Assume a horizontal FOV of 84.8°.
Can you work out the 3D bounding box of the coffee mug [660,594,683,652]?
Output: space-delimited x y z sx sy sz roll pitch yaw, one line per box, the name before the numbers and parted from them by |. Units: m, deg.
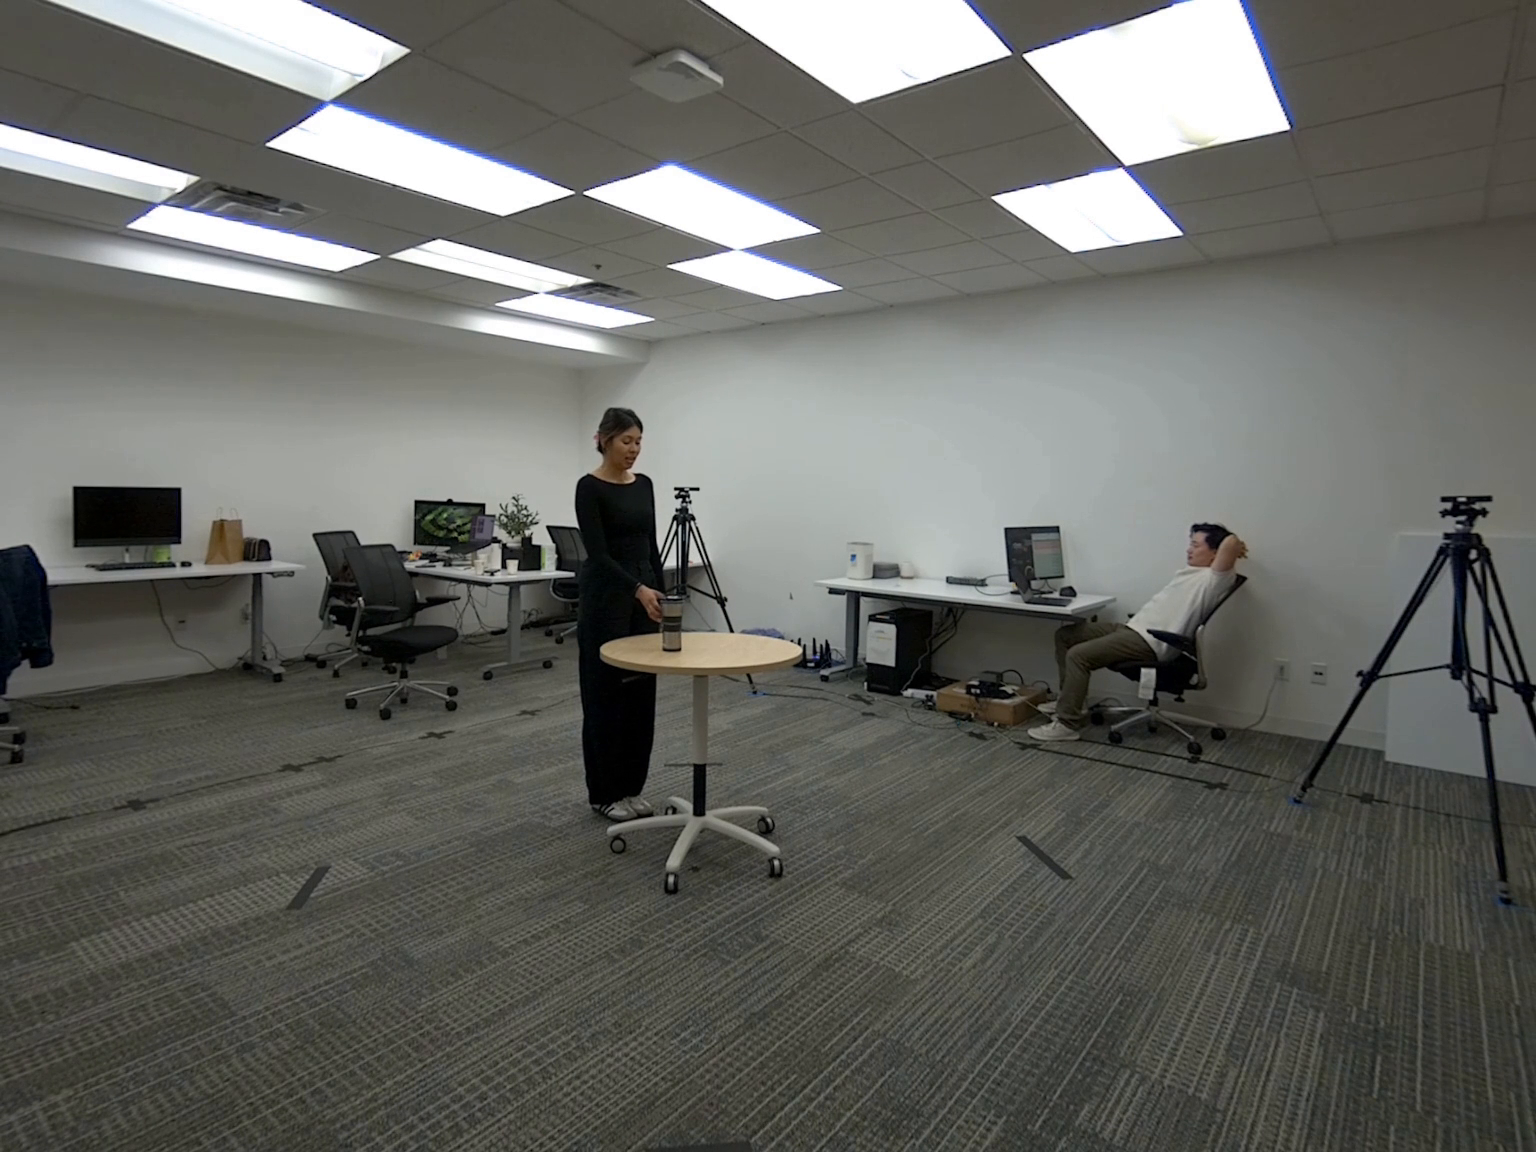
coffee mug | -0.359 0.176 3.186 0.089 0.202 0.120 -4 3 13
